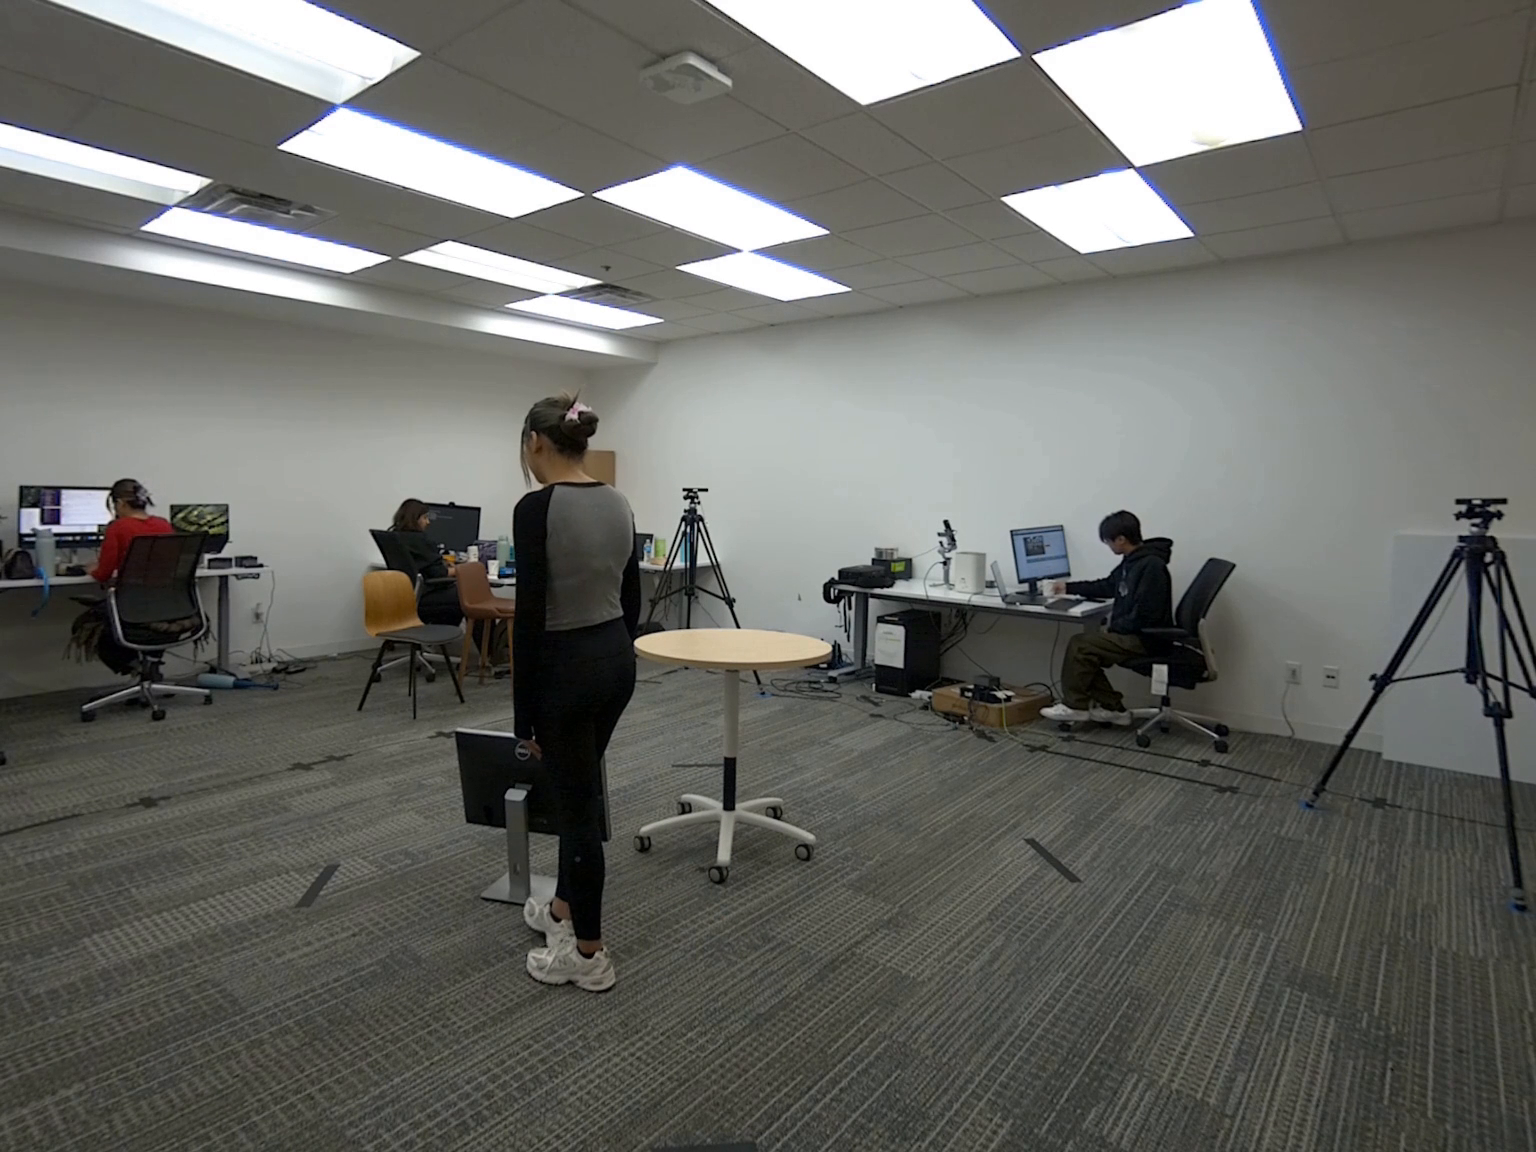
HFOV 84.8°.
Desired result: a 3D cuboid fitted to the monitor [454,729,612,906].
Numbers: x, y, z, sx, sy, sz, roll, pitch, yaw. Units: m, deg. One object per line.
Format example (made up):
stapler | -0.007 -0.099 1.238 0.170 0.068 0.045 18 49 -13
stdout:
monitor | -0.840 0.816 2.902 0.548 0.522 0.184 1 1 15
